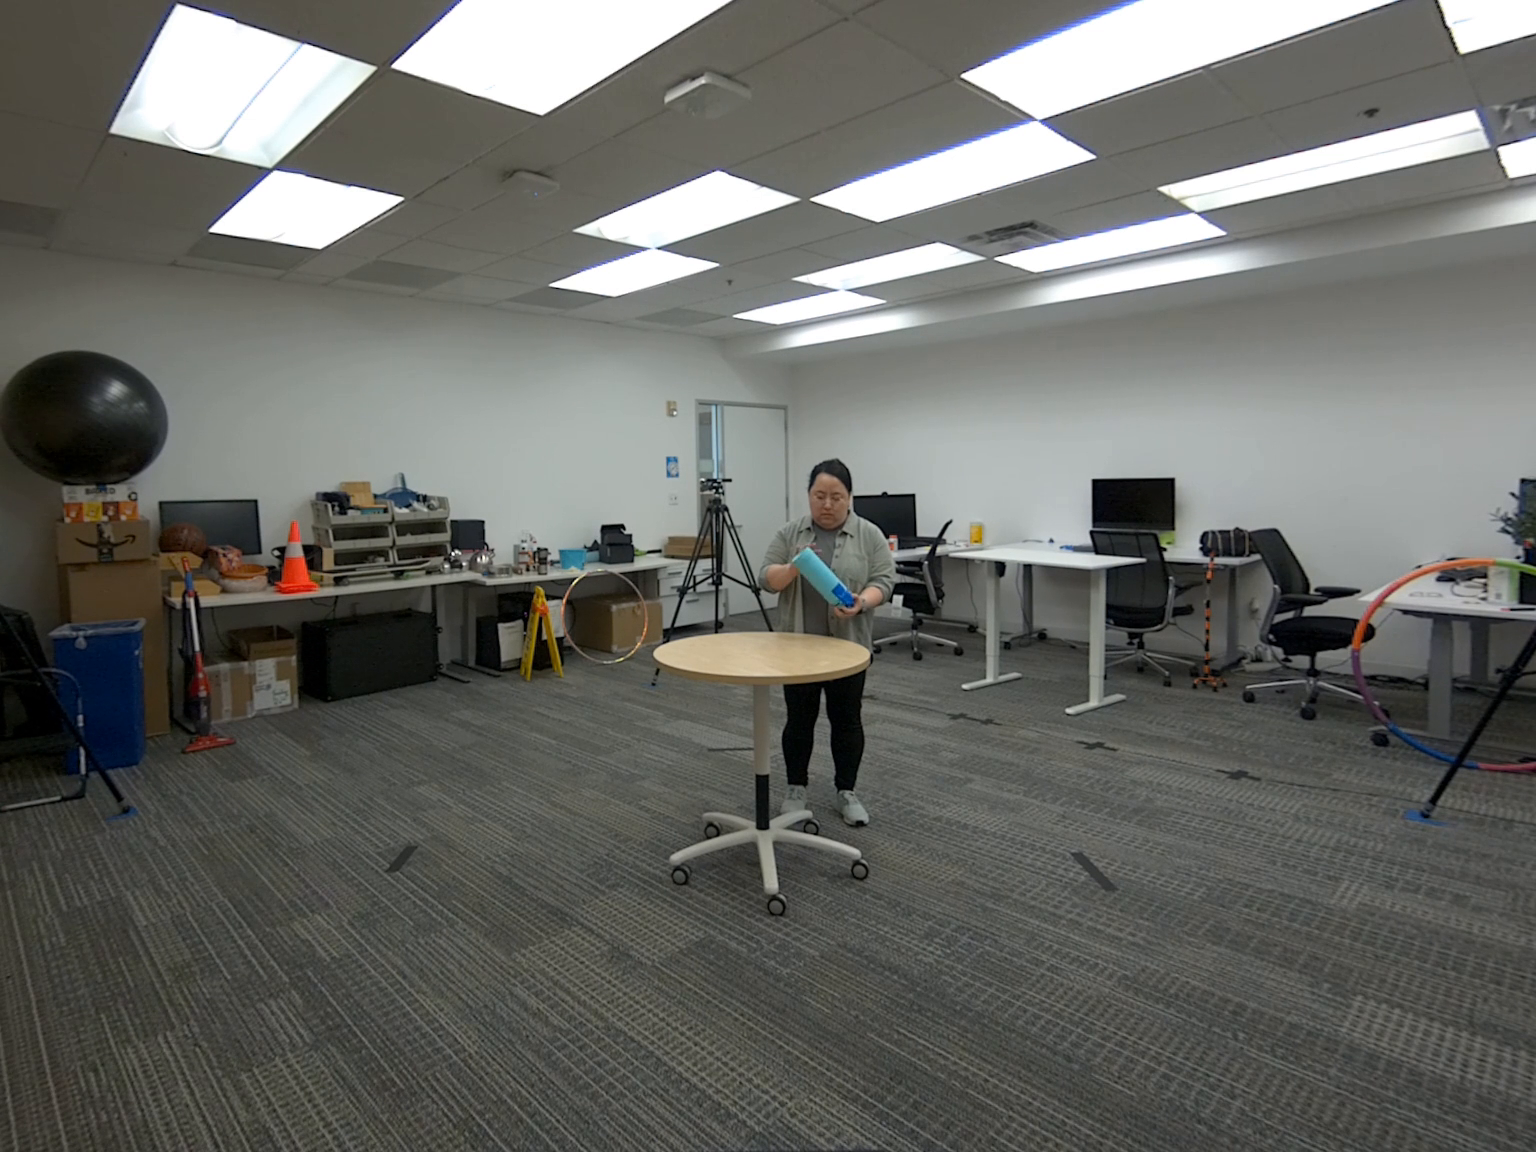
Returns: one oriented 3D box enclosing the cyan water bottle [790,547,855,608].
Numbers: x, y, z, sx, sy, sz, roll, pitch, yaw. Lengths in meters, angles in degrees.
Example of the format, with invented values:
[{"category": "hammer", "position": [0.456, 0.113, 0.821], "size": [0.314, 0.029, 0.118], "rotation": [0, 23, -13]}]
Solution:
[{"category": "cyan water bottle", "position": [0.221, 0.025, 3.242], "size": [0.092, 0.283, 0.092], "rotation": [-42, 0, -1]}]
